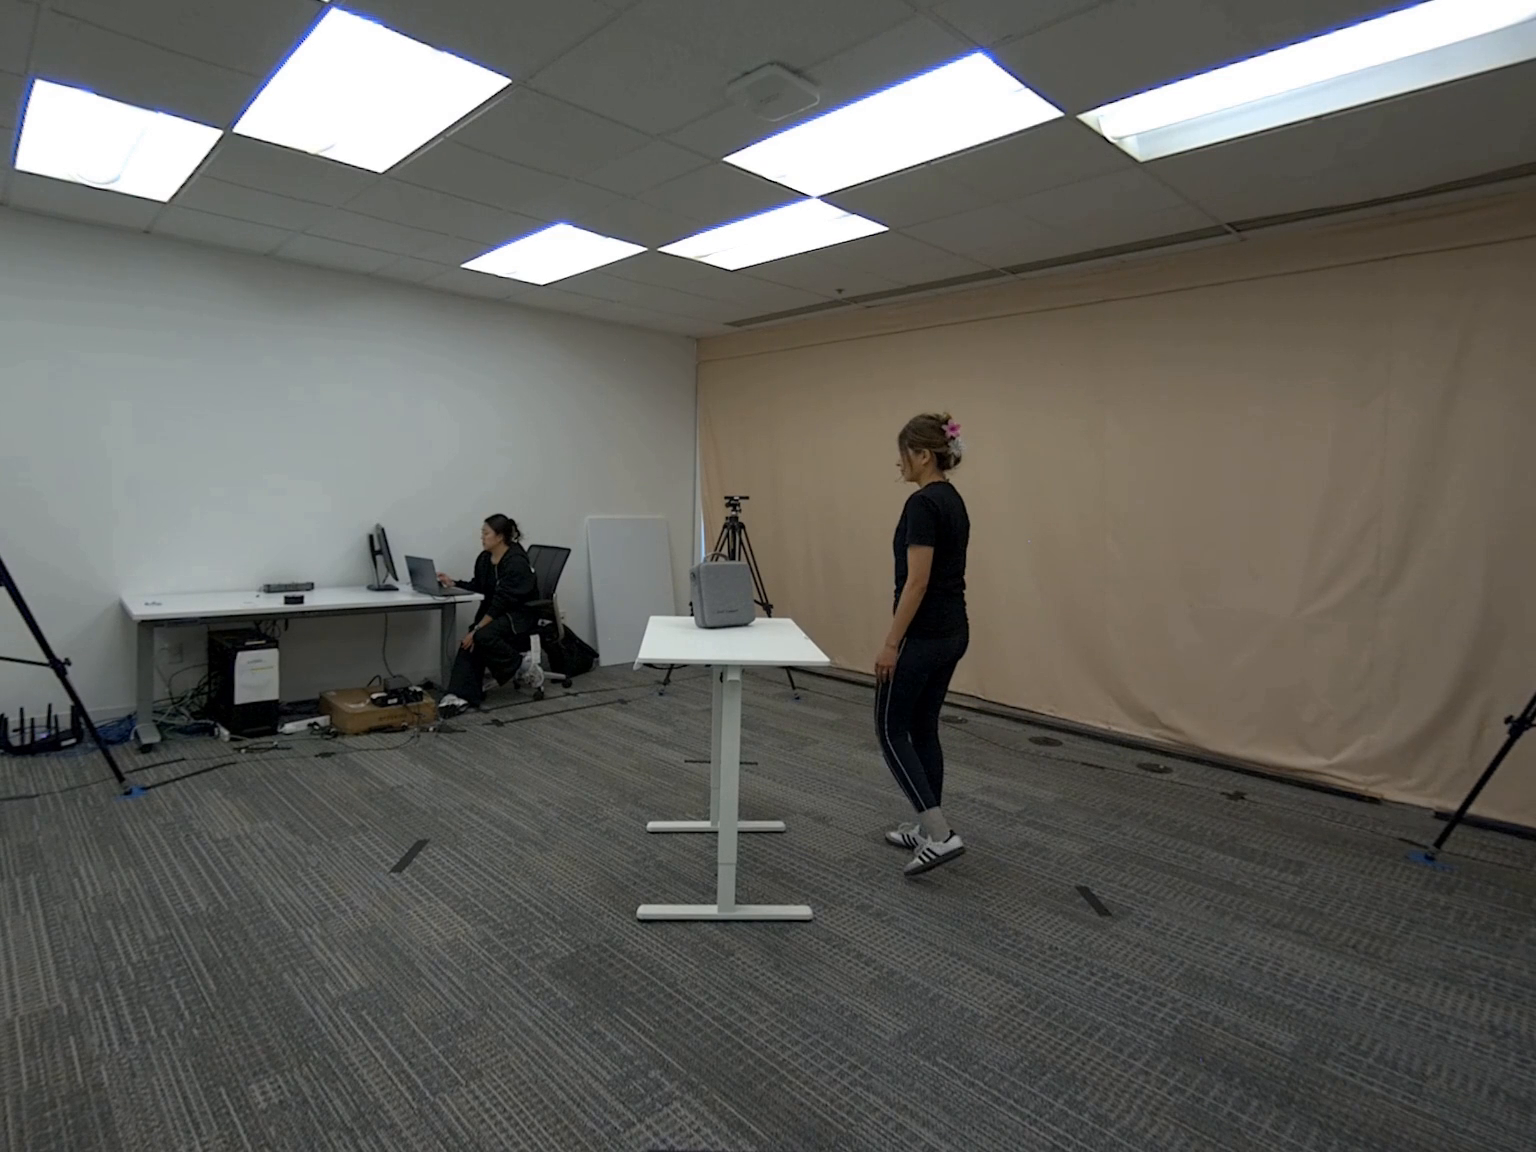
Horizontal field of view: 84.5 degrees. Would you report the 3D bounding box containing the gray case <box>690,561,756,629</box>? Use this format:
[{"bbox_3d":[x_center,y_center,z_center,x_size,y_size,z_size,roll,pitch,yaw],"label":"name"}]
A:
[{"bbox_3d":[-0.188,0.069,3.348,0.251,0.262,0.106,0,-9,-39],"label":"gray case"}]
